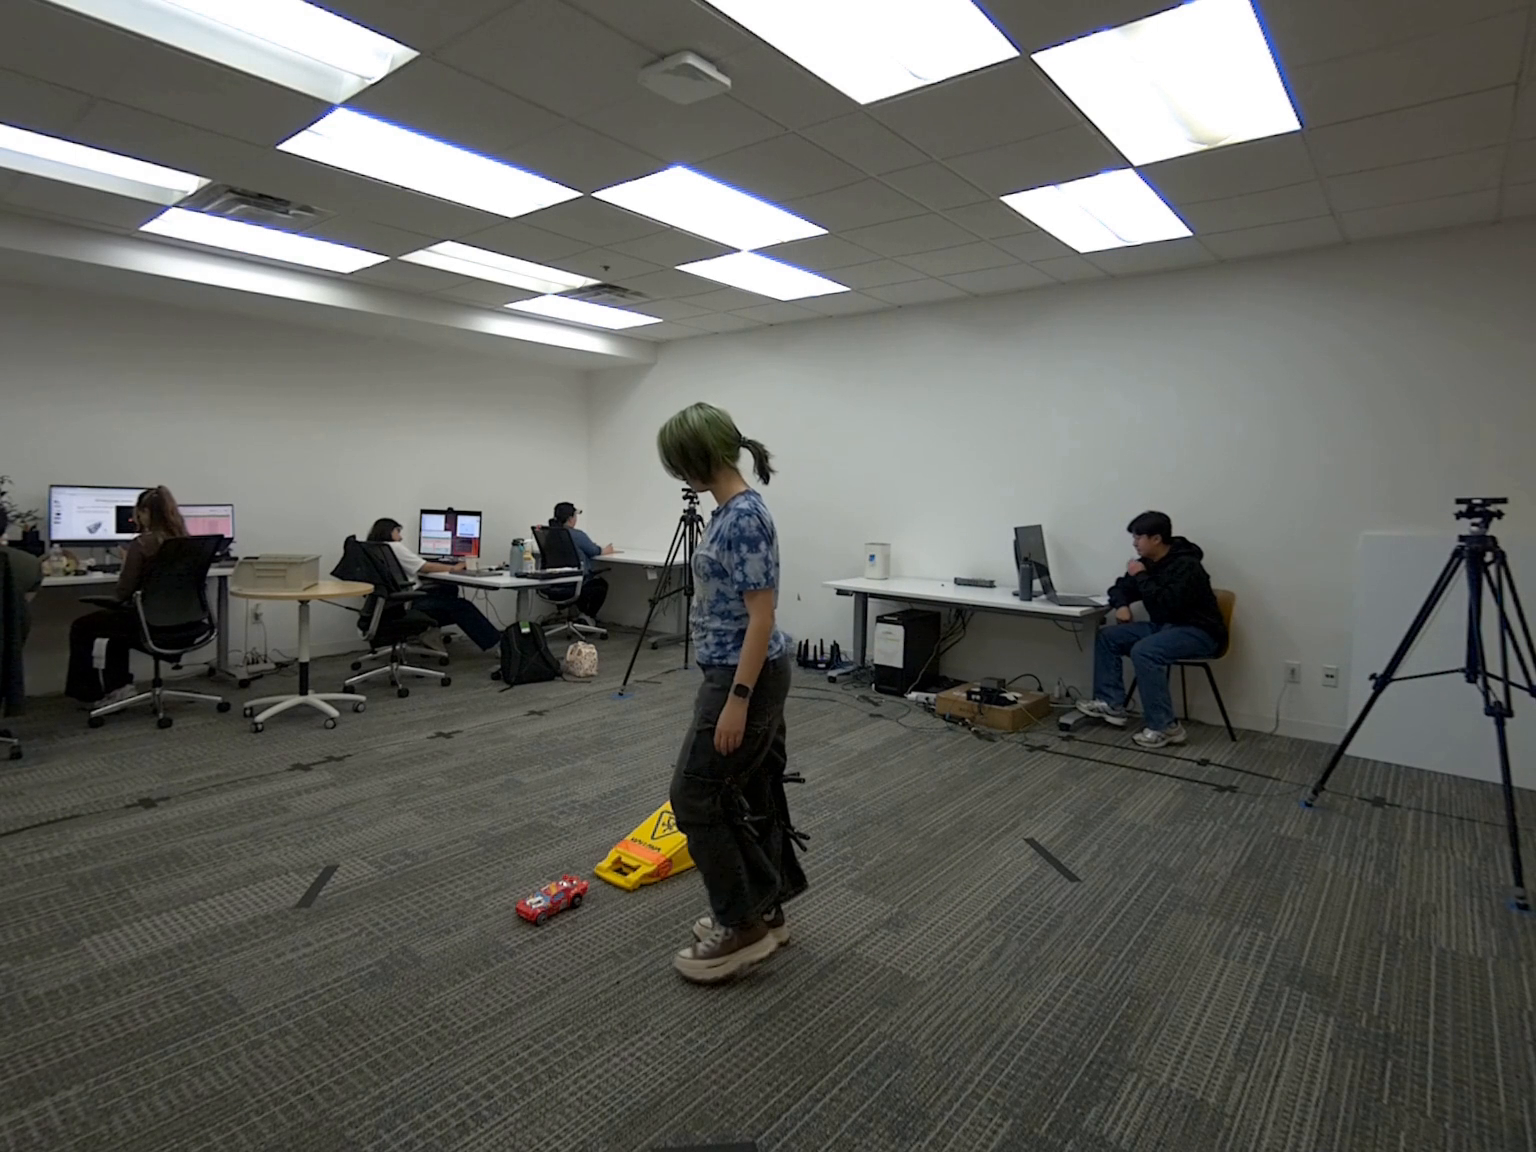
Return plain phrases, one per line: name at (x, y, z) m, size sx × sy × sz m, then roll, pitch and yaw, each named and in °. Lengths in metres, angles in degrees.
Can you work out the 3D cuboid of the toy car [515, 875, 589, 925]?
toy car at (-0.712, 1.061, 2.792) m, size 0.134 × 0.082 × 0.250 m, roll 4°, pitch 18°, yaw 37°
